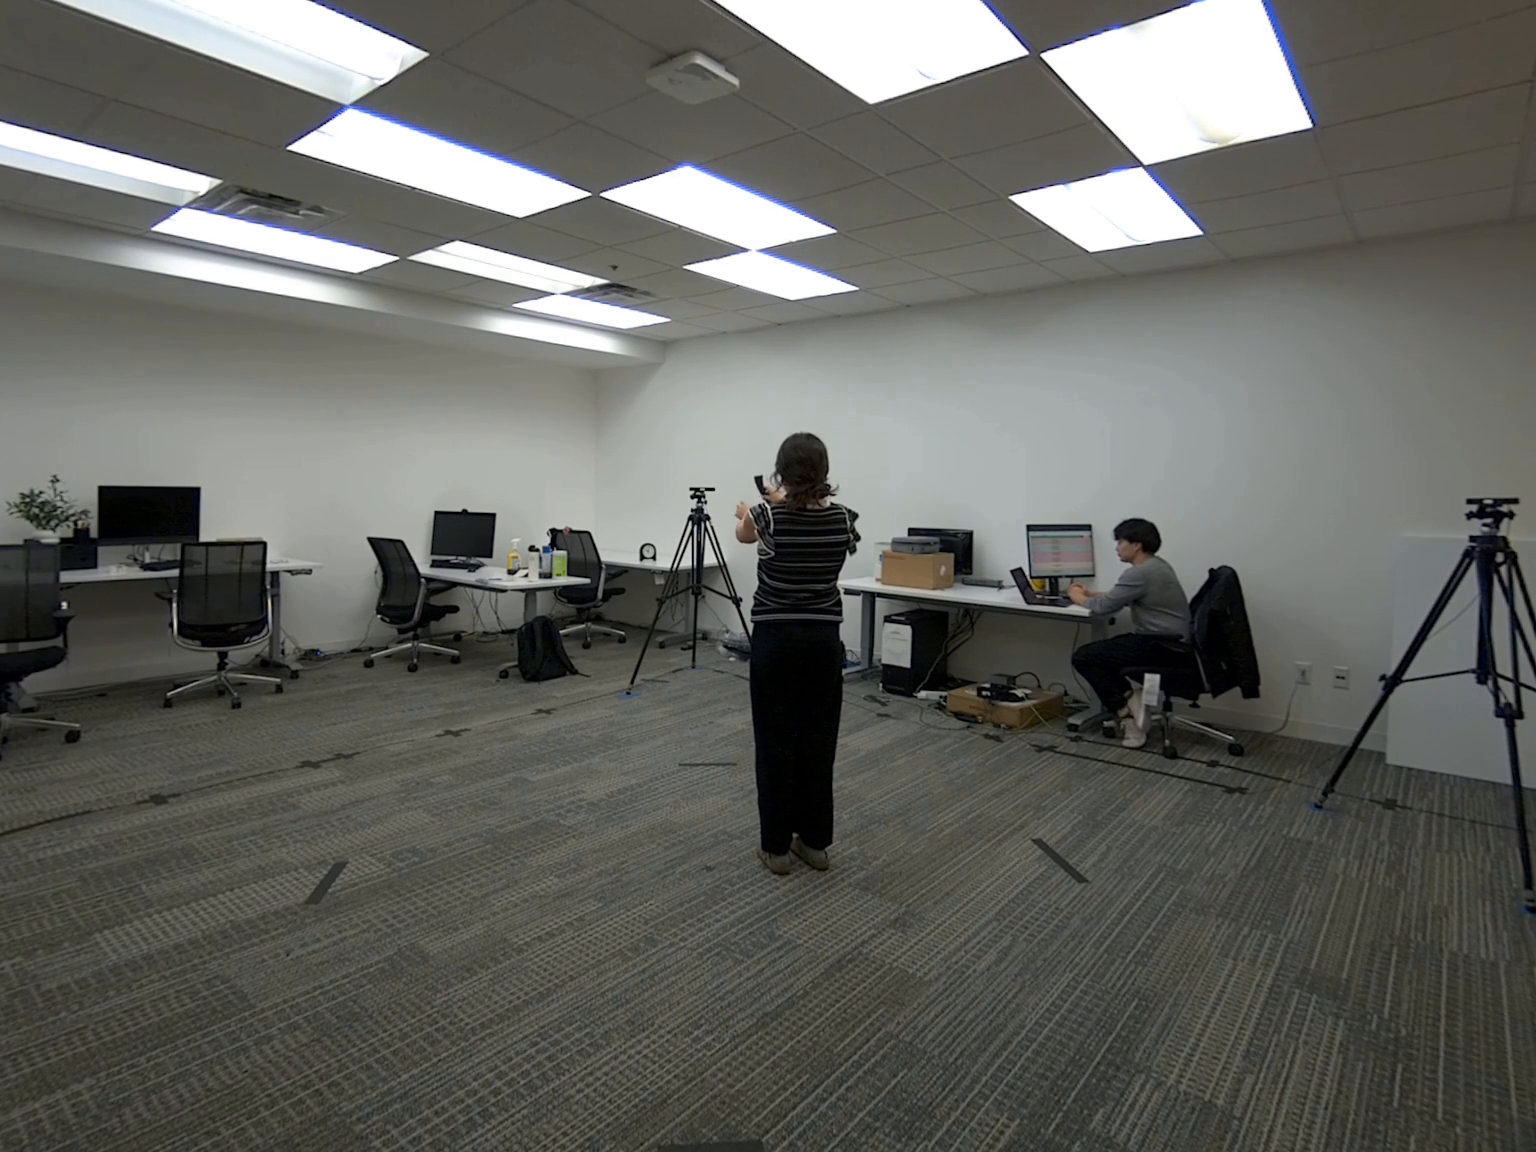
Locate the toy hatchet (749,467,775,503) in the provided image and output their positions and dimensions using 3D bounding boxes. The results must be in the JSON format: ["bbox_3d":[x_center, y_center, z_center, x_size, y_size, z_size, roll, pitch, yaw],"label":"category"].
[{"bbox_3d":[0.020,-0.337,3.676,0.132,0.262,0.030,-15,25,11],"label":"toy hatchet"}]
